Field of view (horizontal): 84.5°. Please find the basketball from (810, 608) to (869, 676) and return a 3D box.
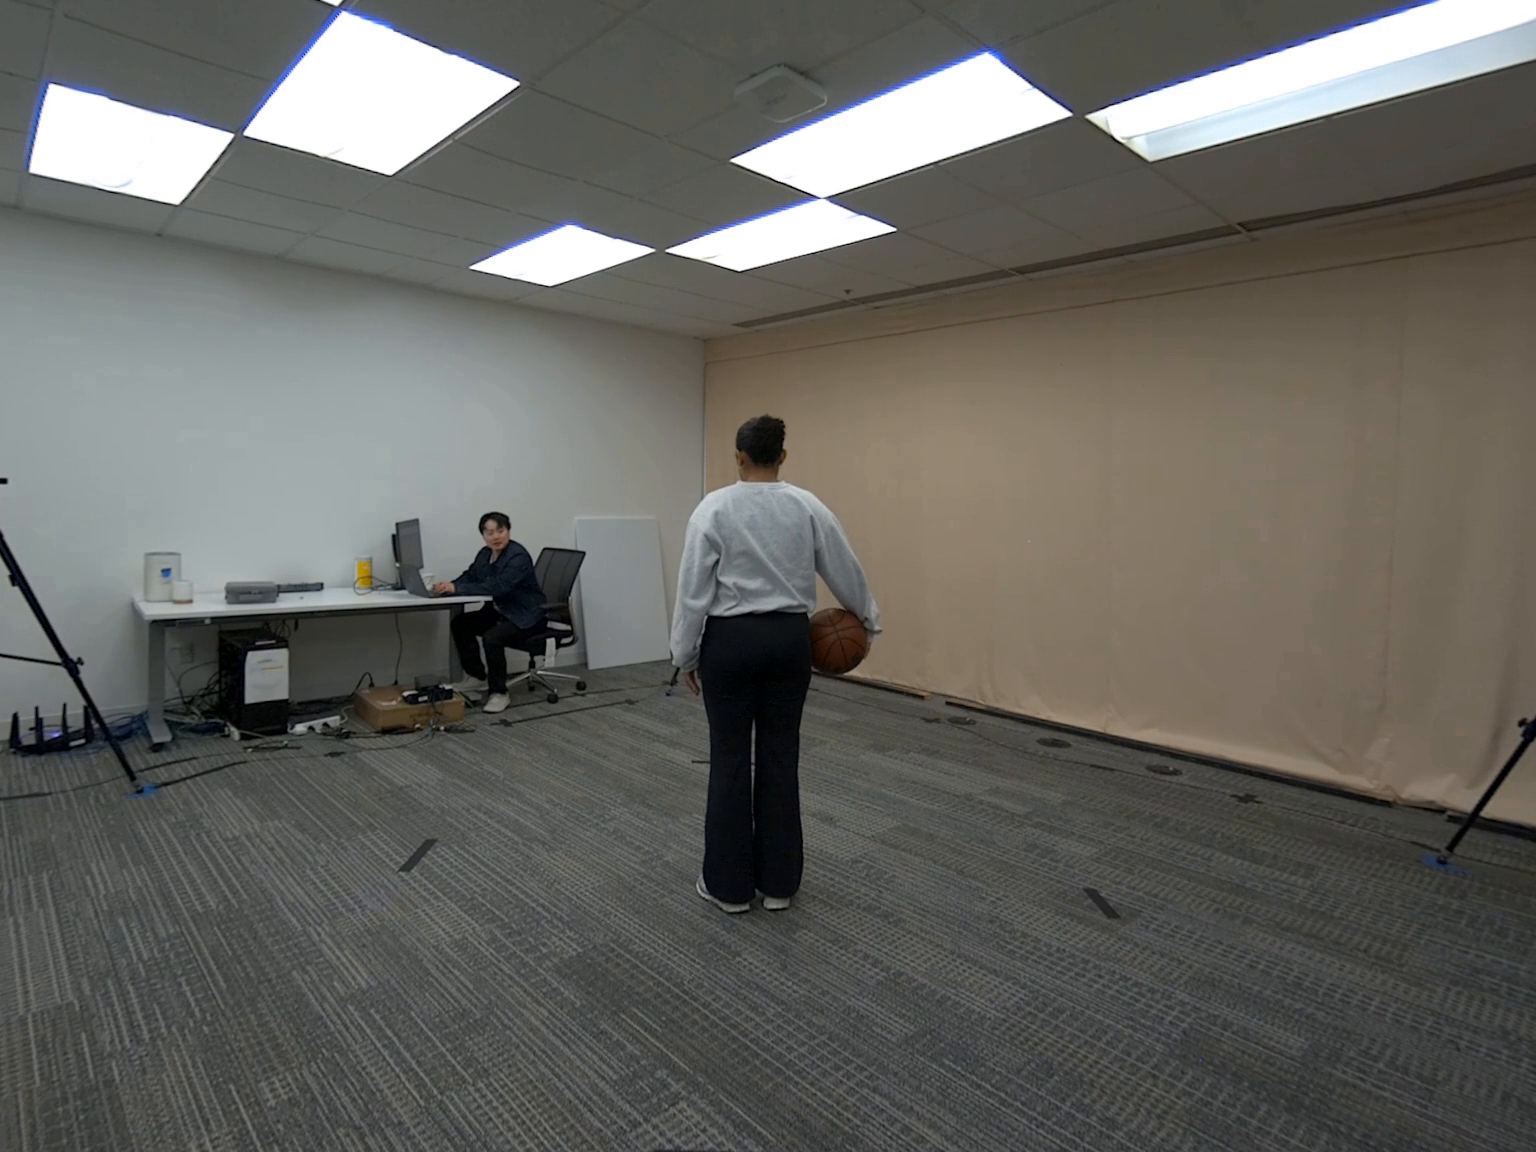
[{"bbox_3d":[0.227,0.233,3.018,0.236,0.235,0.237,1,4,-1],"label":"basketball"}]
